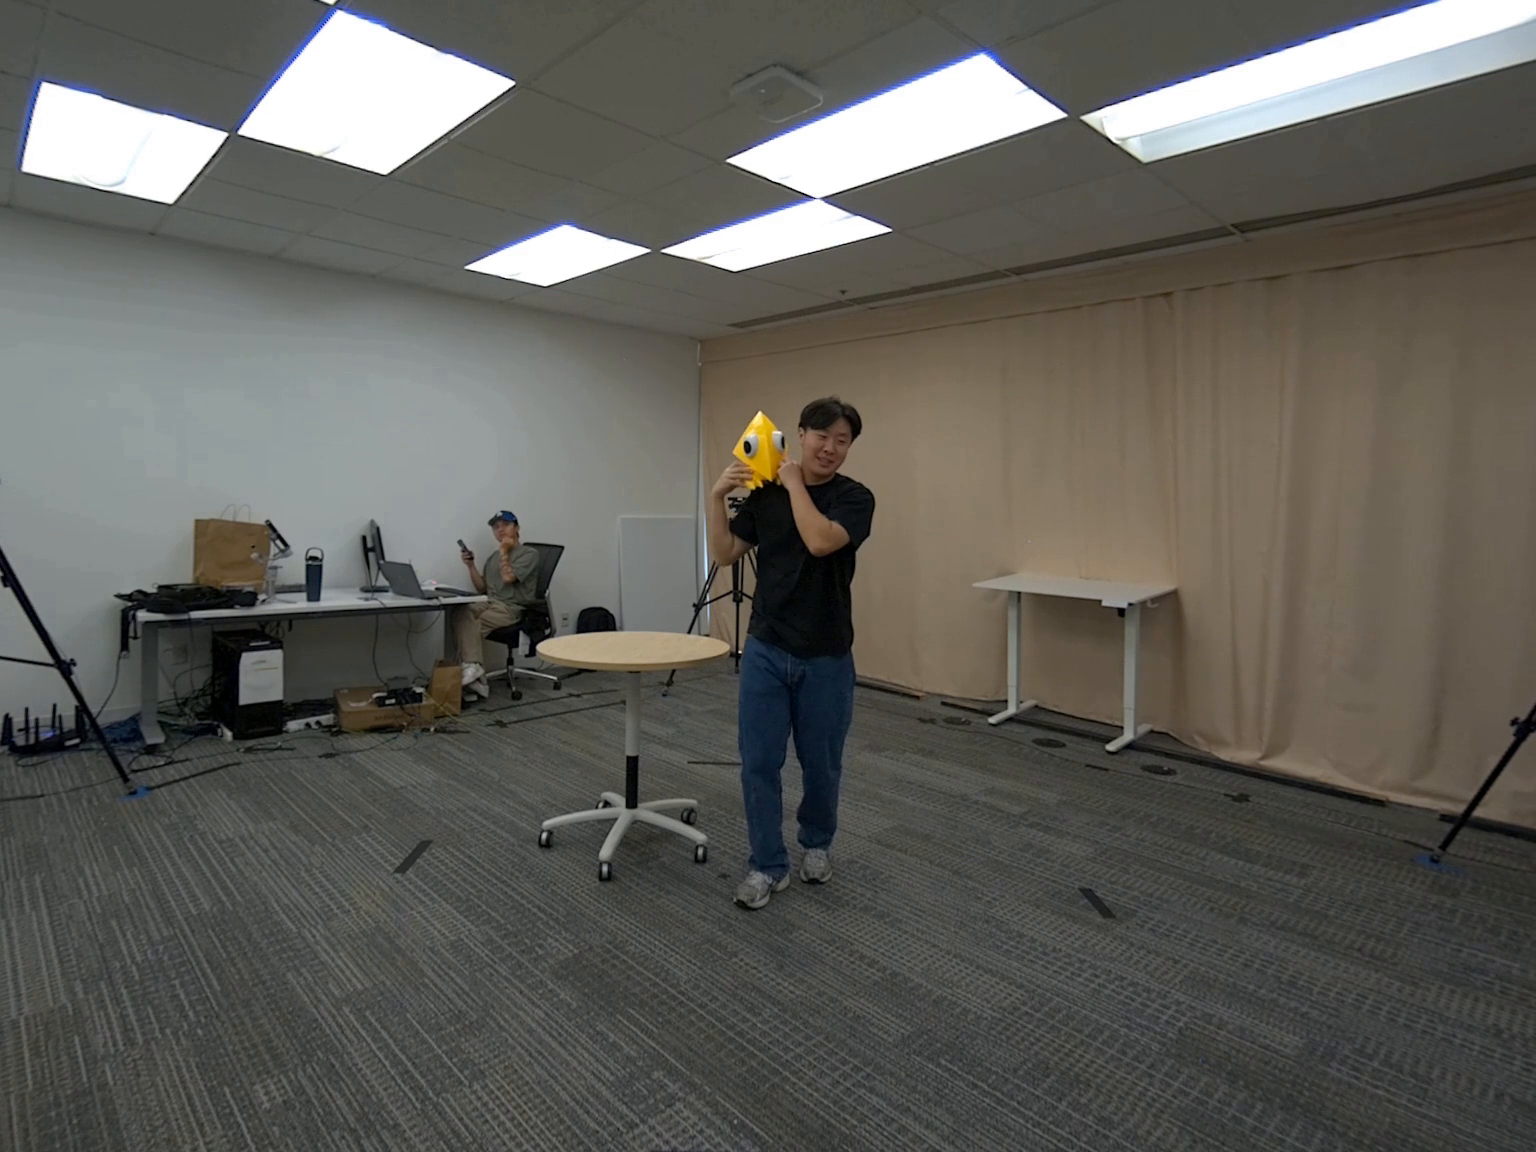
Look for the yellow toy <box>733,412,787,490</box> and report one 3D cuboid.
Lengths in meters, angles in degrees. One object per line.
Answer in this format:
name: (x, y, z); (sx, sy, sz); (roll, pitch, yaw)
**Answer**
yellow toy: (-0.009, -0.451, 2.958); (0.203, 0.226, 0.198); (-7, 27, -9)
